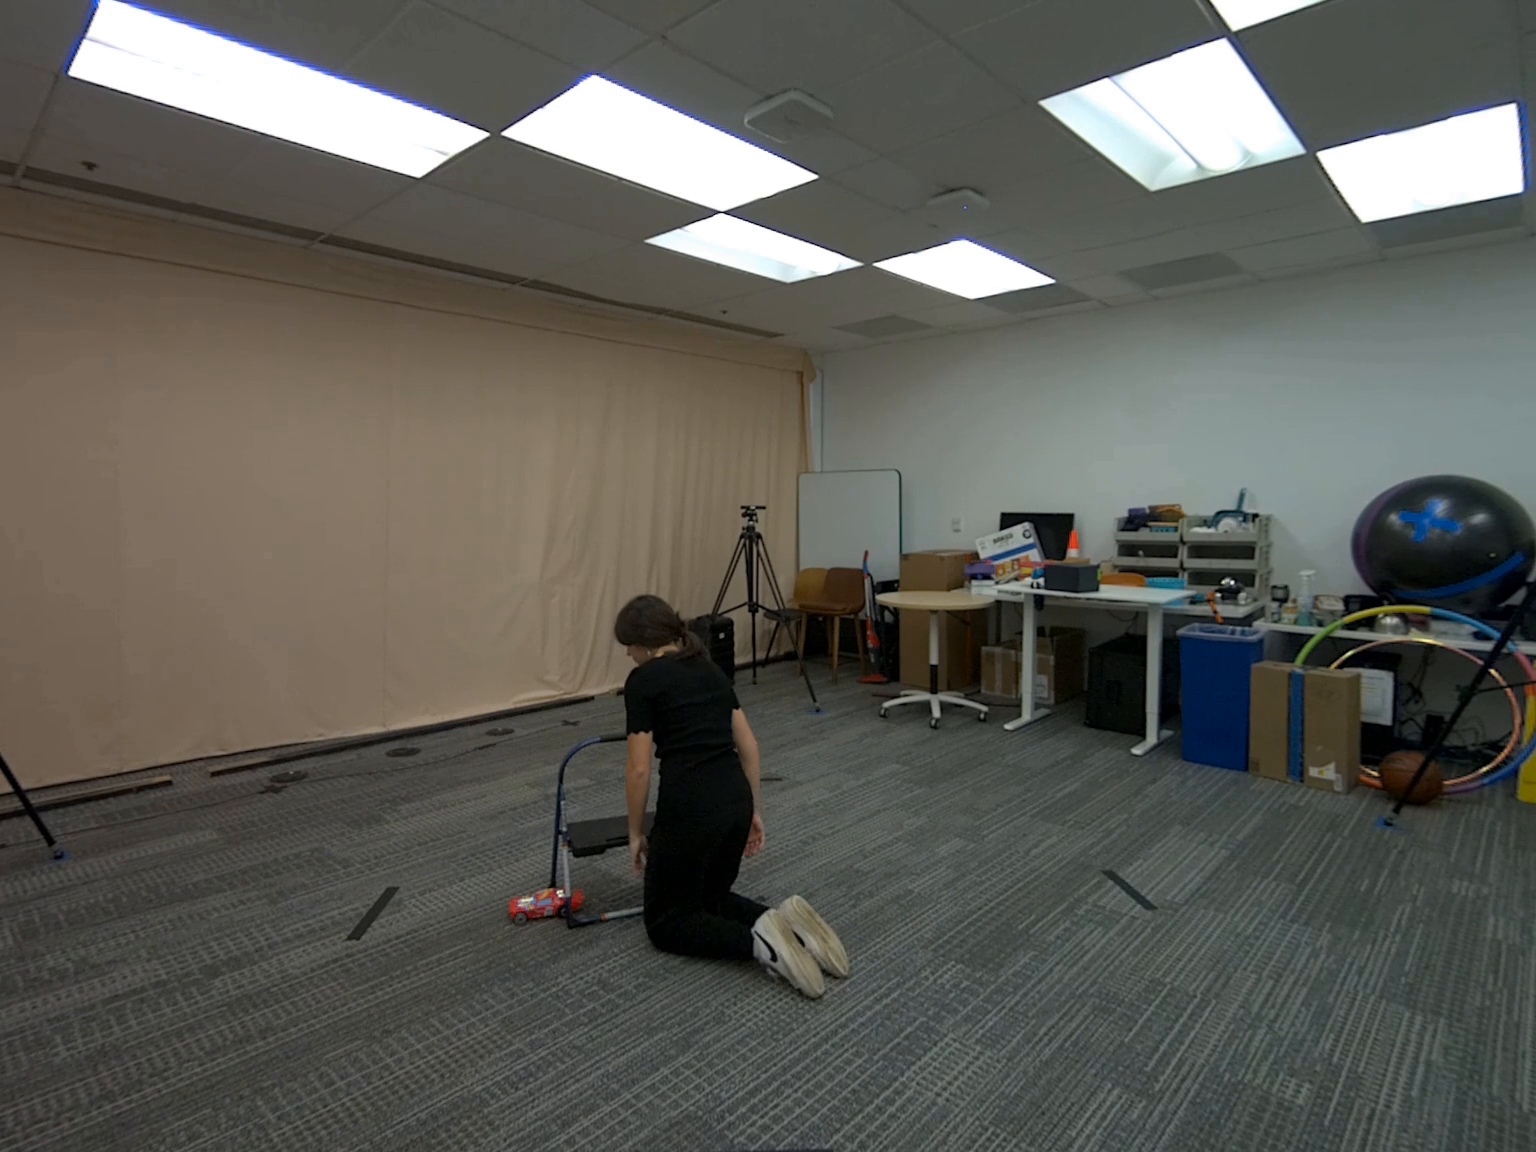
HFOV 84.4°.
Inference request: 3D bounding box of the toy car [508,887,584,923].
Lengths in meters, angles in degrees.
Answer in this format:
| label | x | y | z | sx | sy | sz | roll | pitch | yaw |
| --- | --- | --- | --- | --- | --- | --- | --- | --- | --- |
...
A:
| label | x | y | z | sx | sy | sz | roll | pitch | yaw |
| --- | --- | --- | --- | --- | --- | --- | --- | --- | --- |
| toy car | -0.757 | 1.132 | 2.890 | 0.251 | 0.083 | 0.132 | -13 | 6 | -13 |
